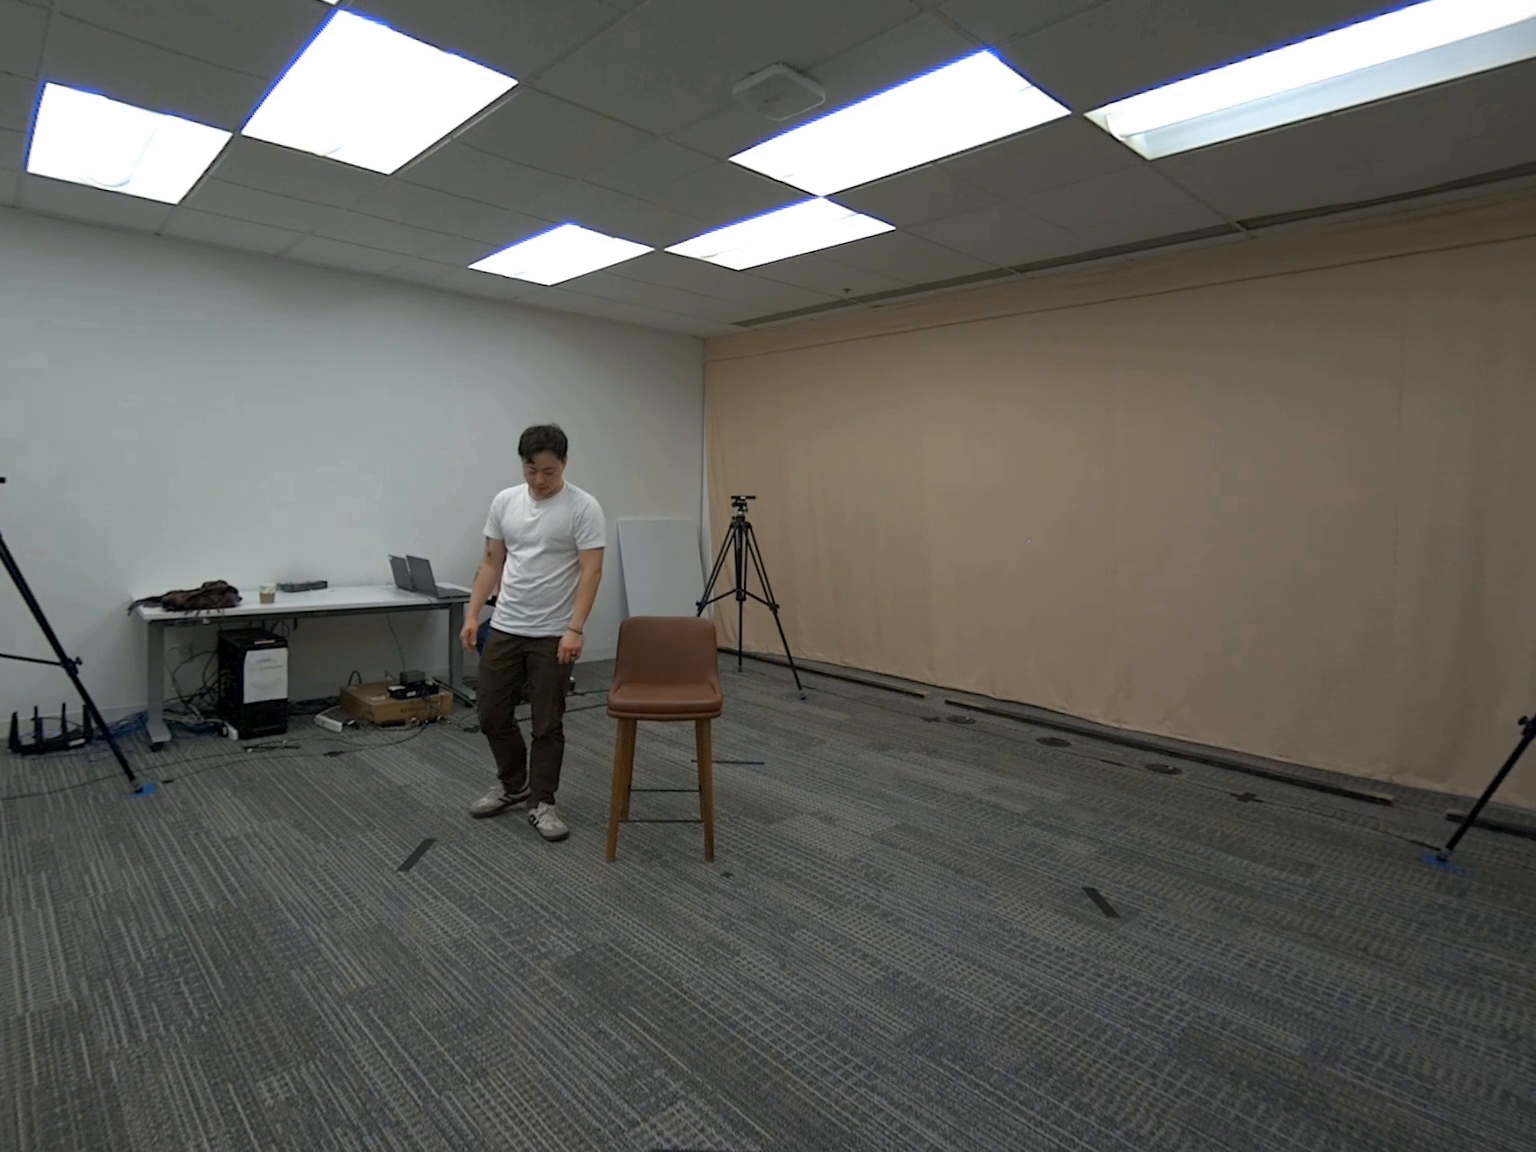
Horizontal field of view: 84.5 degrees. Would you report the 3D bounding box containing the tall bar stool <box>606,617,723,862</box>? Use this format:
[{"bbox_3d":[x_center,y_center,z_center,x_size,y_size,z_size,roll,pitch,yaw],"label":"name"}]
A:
[{"bbox_3d":[-0.426,0.636,3.401,0.455,0.888,0.470,1,2,-4],"label":"tall bar stool"}]
